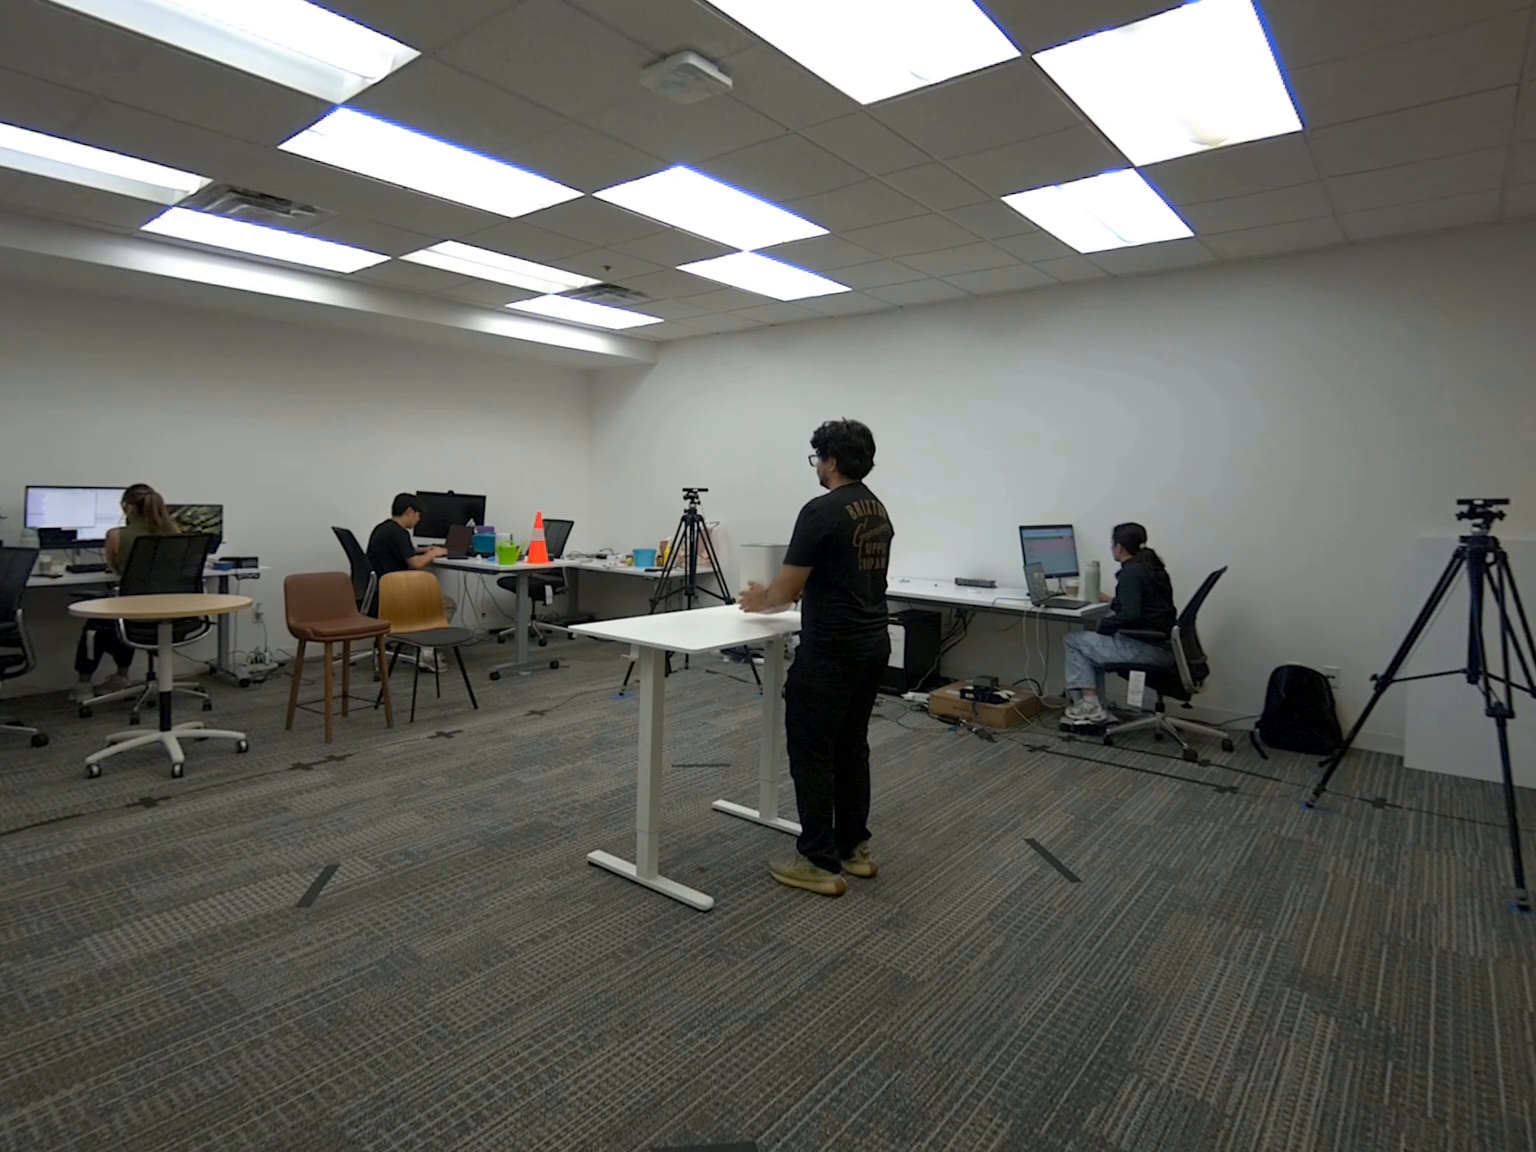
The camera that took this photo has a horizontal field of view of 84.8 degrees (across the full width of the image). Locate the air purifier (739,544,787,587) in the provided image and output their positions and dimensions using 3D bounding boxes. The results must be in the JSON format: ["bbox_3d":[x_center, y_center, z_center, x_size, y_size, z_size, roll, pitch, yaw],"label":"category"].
[{"bbox_3d":[-0.028,0.005,3.330,0.176,0.265,0.166,2,3,38],"label":"air purifier"}]
